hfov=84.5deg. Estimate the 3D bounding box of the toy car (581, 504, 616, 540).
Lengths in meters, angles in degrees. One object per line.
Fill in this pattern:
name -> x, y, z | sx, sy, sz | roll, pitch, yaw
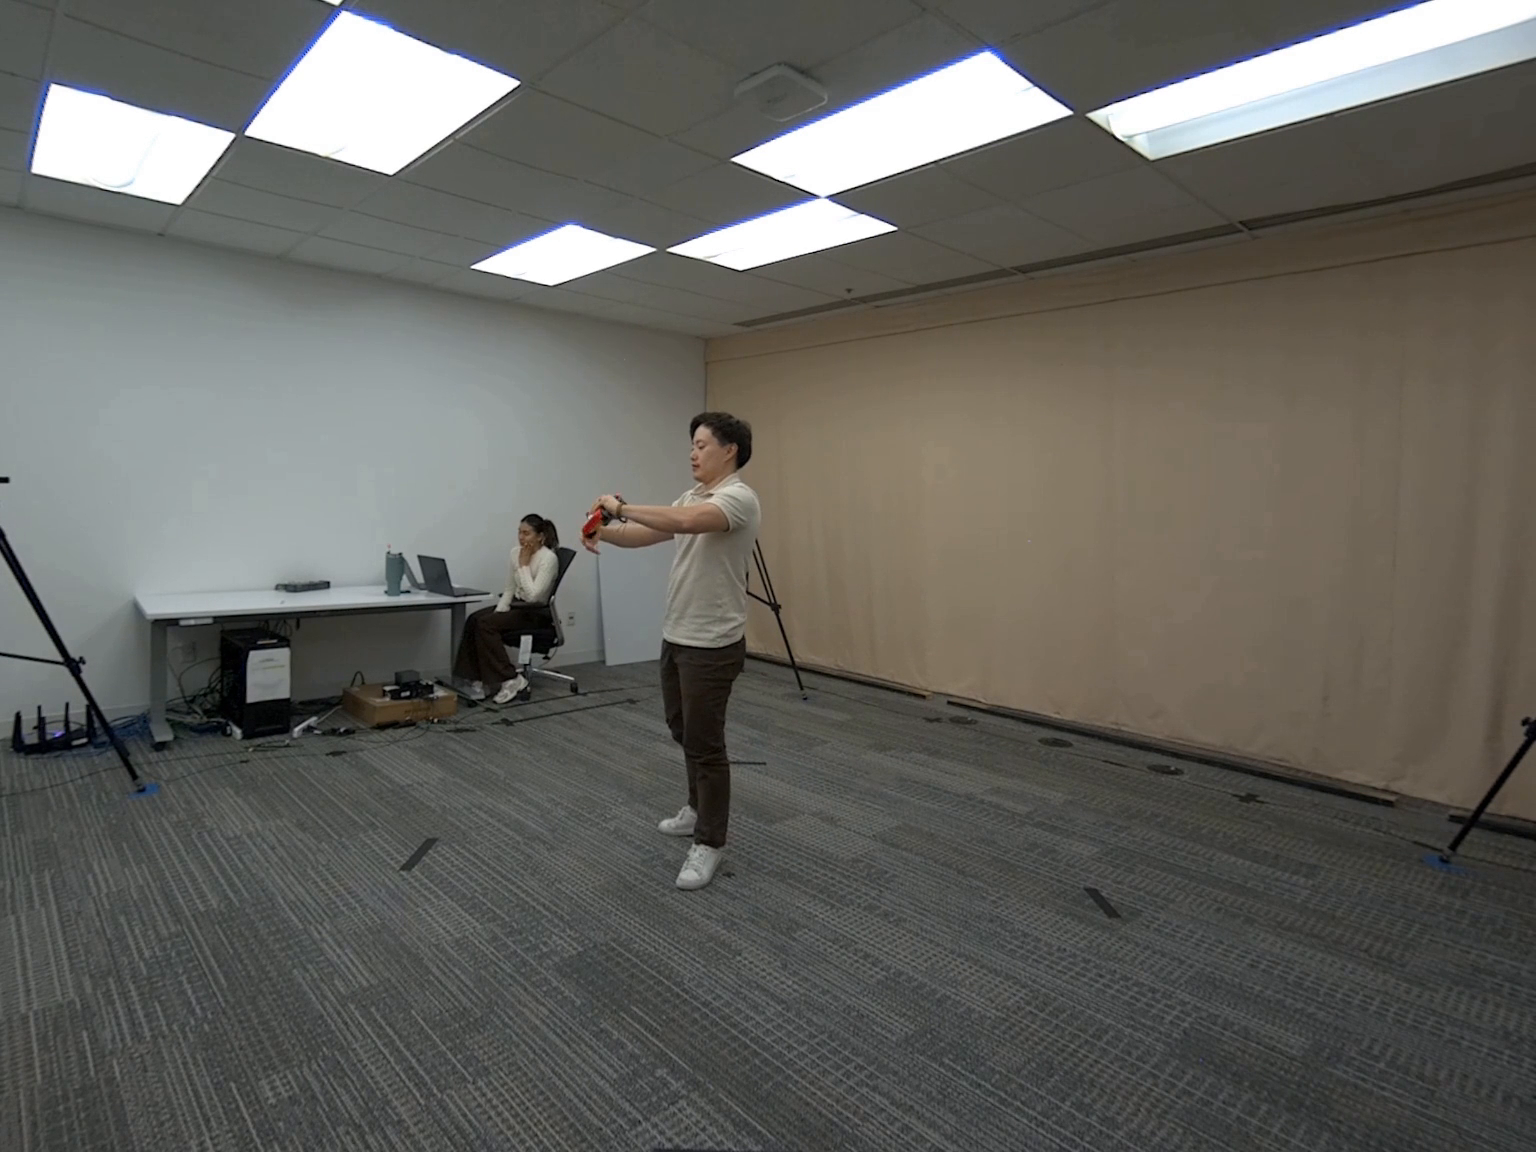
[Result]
toy car -> -0.576, -0.218, 2.947 | 0.082, 0.130, 0.259 | 37, 23, -17
